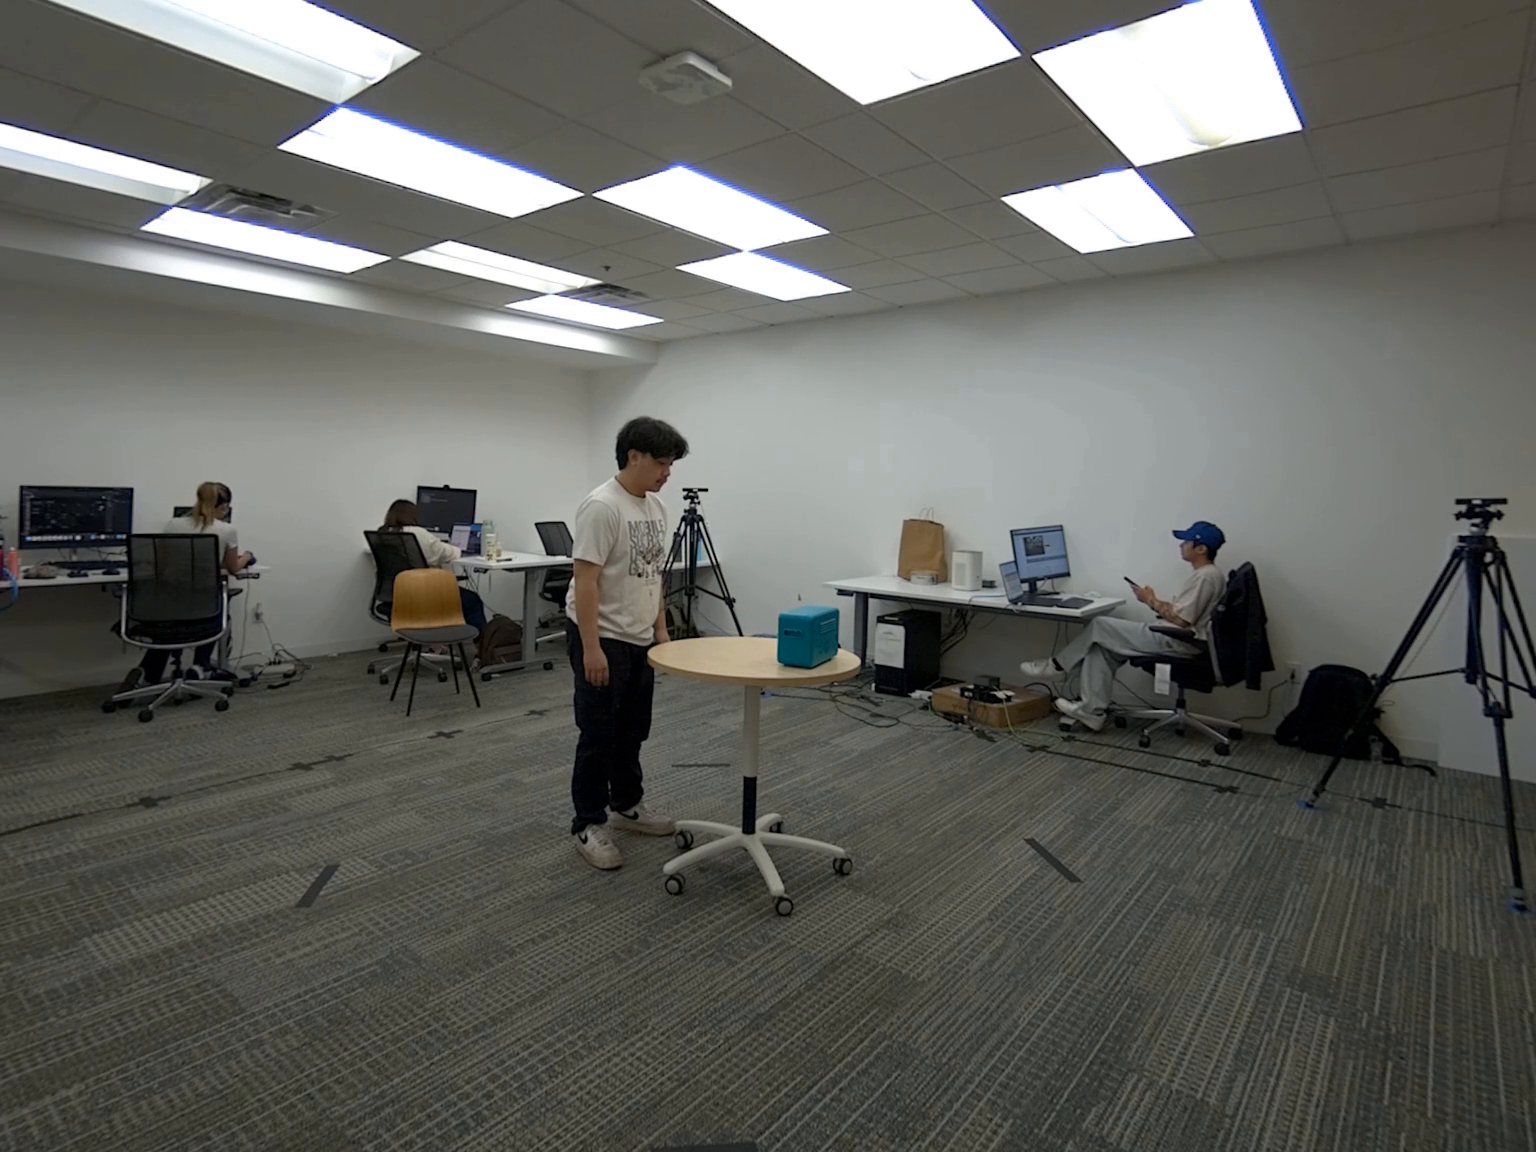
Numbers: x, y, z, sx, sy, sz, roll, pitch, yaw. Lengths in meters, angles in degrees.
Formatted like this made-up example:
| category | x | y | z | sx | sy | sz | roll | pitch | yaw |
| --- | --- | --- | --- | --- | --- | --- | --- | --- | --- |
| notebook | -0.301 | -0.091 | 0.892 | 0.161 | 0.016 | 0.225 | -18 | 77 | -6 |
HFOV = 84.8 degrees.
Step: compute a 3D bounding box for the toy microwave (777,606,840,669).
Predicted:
| category | x | y | z | sx | sy | sz | roll | pitch | yaw |
| --- | --- | --- | --- | --- | --- | --- | --- | --- | --- |
| toy microwave | 0.127 | 0.206 | 2.984 | 0.156 | 0.183 | 0.280 | 3 | 5 | 25 |
